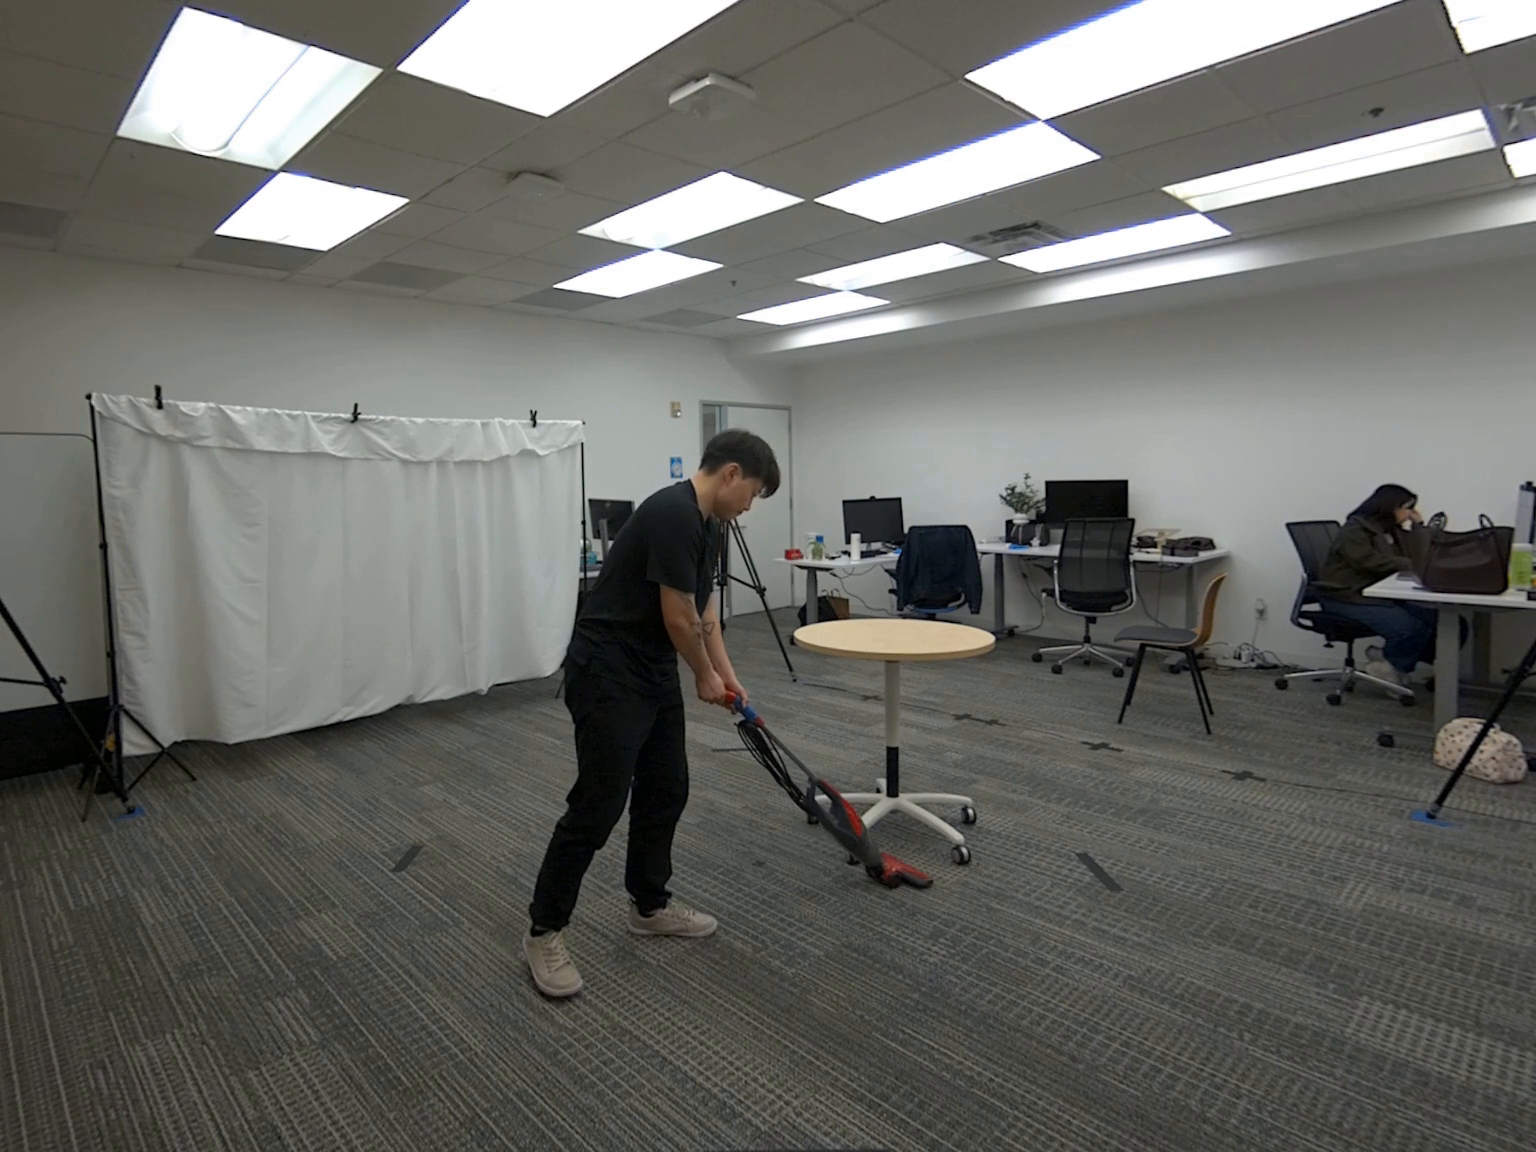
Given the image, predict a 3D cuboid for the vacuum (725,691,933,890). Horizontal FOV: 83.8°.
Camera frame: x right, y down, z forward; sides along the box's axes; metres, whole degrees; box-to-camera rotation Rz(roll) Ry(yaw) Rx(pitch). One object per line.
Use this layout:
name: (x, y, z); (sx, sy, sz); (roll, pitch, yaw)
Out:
vacuum: (0.128, 0.698, 2.773); (1.019, 0.144, 0.259); (46, -22, -24)
